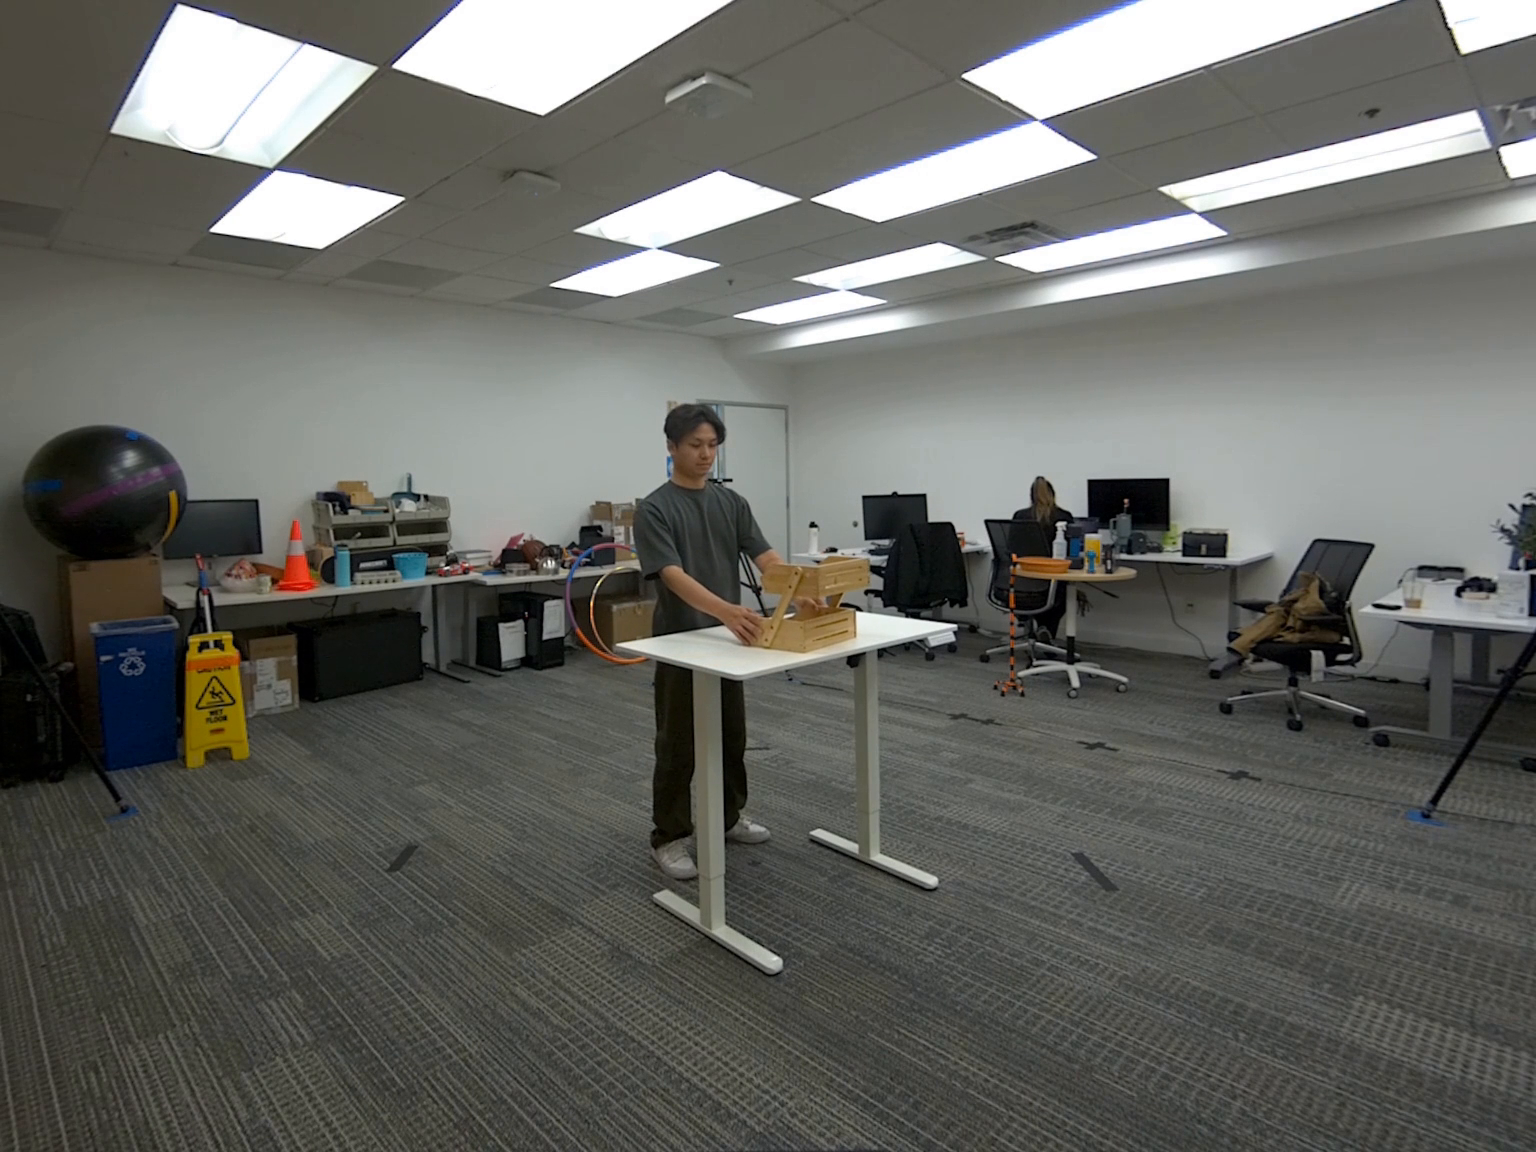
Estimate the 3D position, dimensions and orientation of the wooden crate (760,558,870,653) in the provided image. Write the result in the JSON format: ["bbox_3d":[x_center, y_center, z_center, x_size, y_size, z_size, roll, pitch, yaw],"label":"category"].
[{"bbox_3d":[0.114,0.074,2.686,0.311,0.272,0.316,3,7,37],"label":"wooden crate"}]
